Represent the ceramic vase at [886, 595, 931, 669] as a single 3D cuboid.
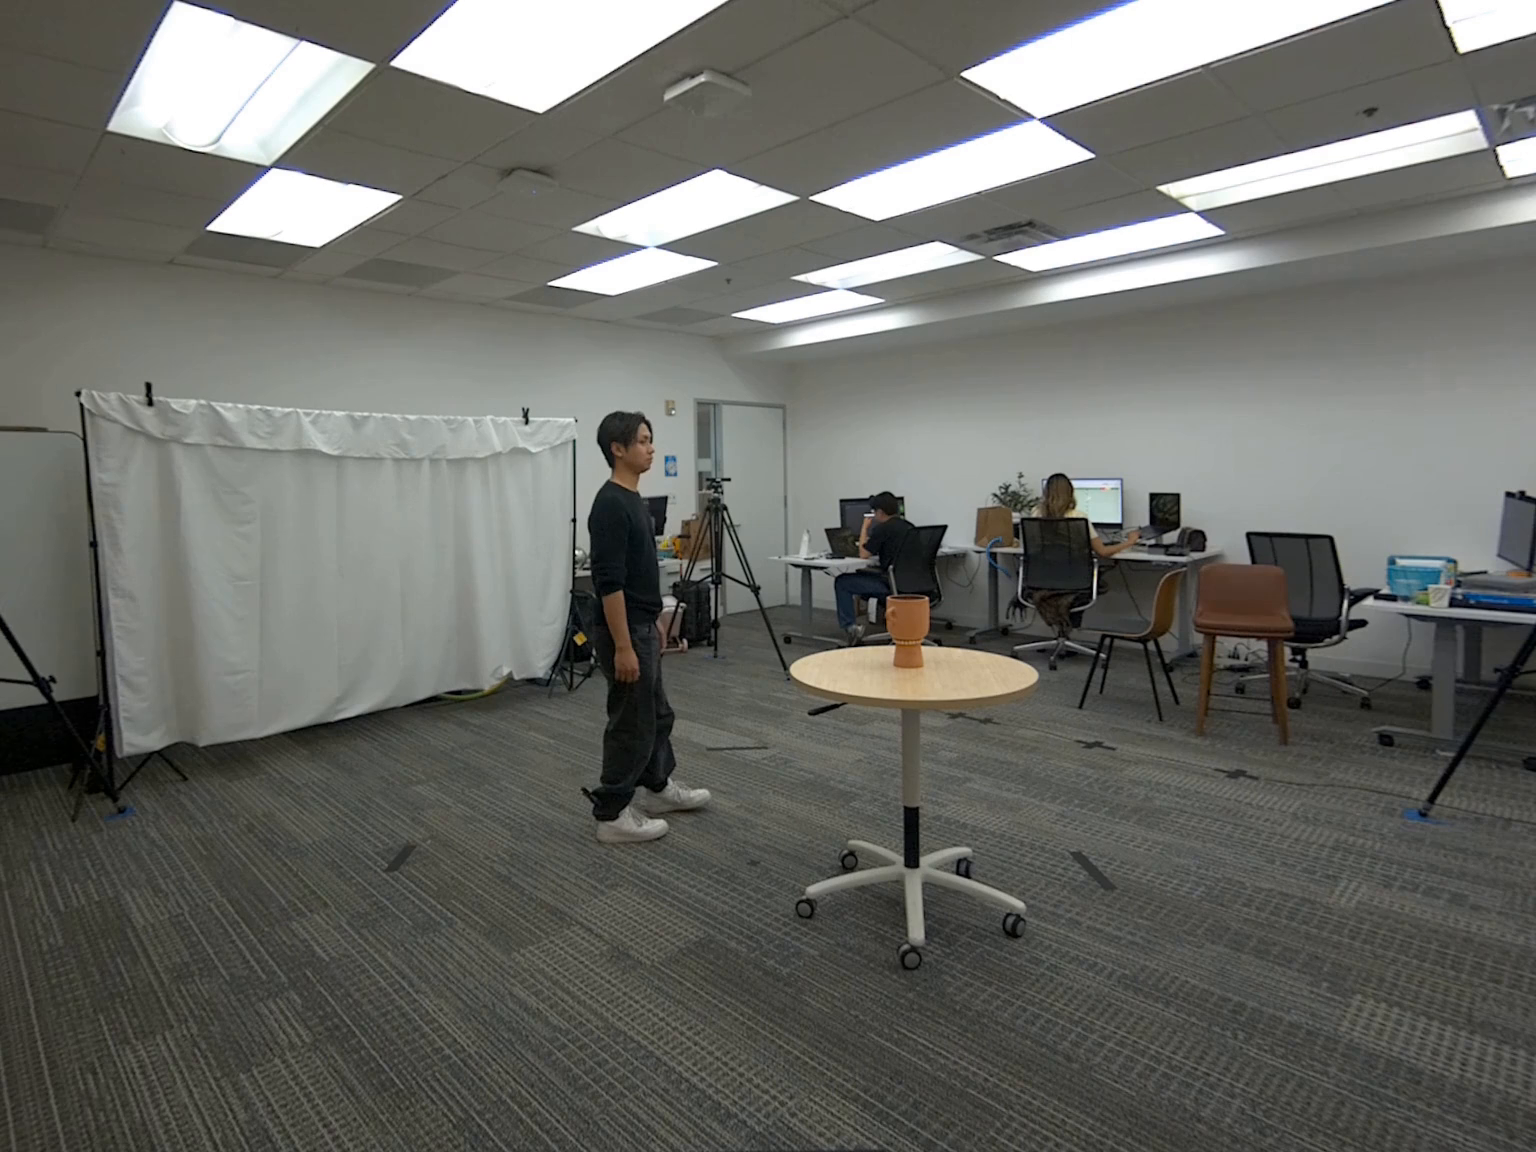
[{"bbox_3d":[0.461,0.180,2.765,0.159,0.219,0.135,-1,3,0],"label":"ceramic vase"}]
